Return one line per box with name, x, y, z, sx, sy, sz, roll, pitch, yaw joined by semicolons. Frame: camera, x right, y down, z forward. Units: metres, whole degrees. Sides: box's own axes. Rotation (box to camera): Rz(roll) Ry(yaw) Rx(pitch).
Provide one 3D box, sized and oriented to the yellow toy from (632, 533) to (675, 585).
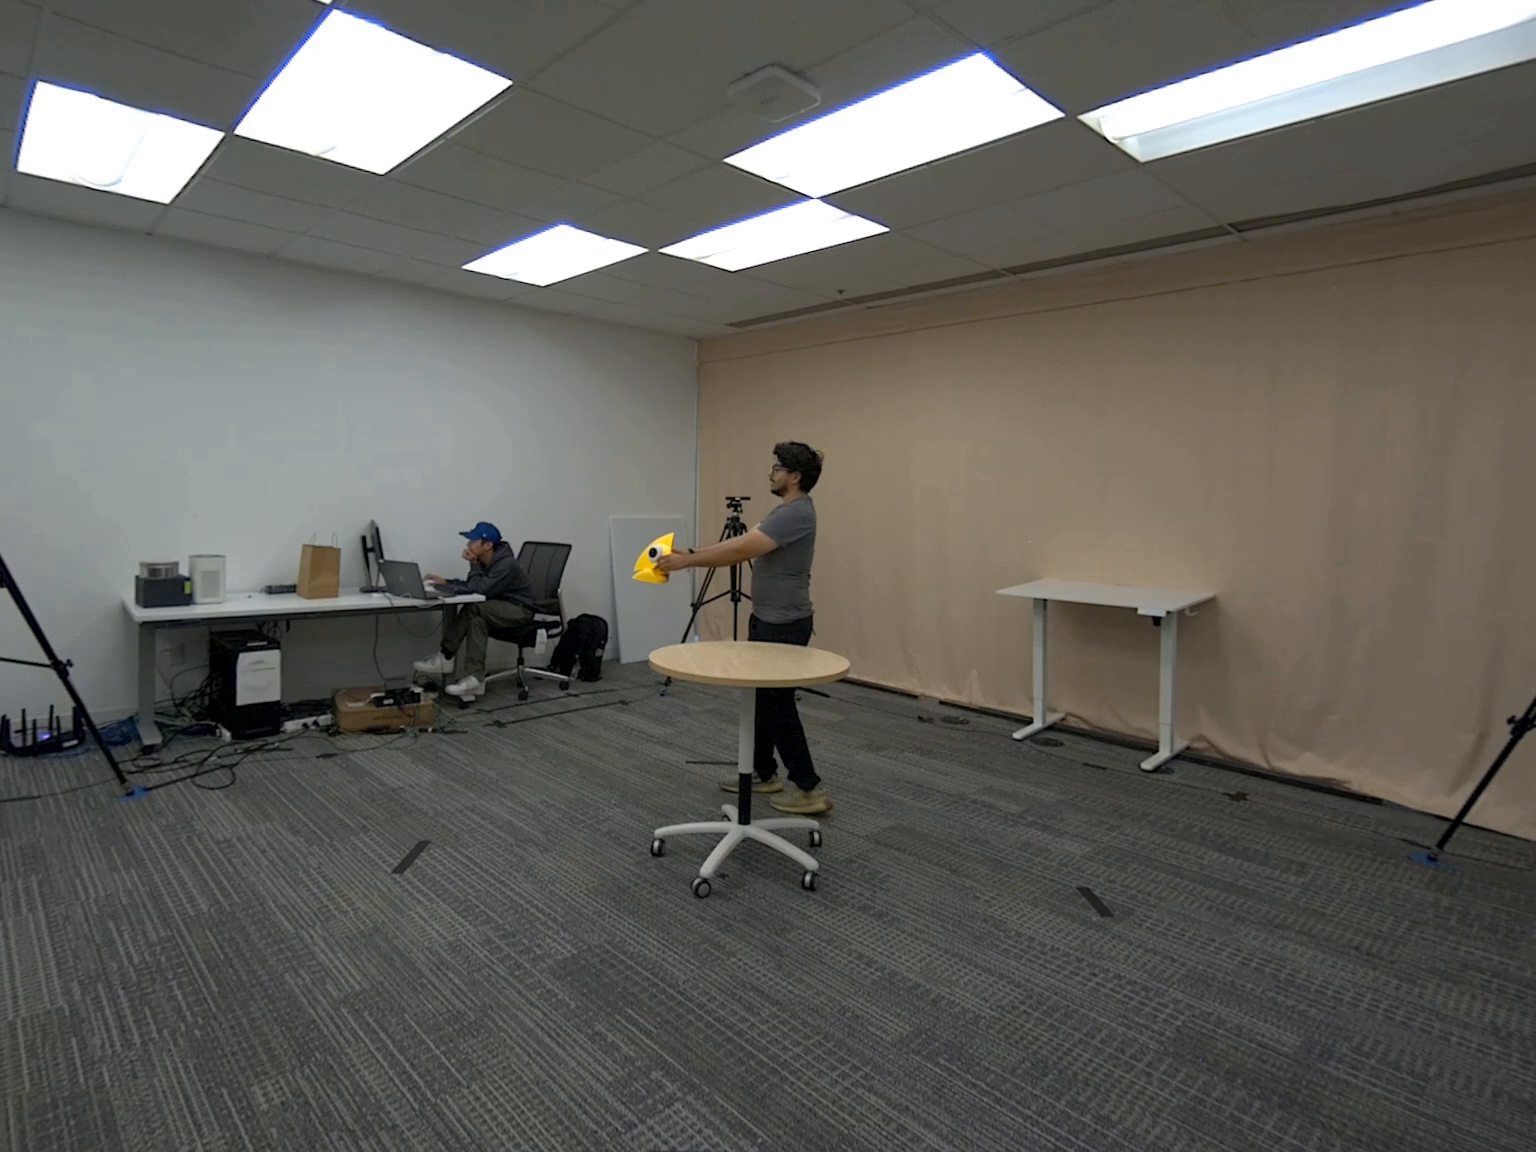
yellow toy;-0.521;-0.096;3.883;0.193;0.230;0.205;9;6;-1
